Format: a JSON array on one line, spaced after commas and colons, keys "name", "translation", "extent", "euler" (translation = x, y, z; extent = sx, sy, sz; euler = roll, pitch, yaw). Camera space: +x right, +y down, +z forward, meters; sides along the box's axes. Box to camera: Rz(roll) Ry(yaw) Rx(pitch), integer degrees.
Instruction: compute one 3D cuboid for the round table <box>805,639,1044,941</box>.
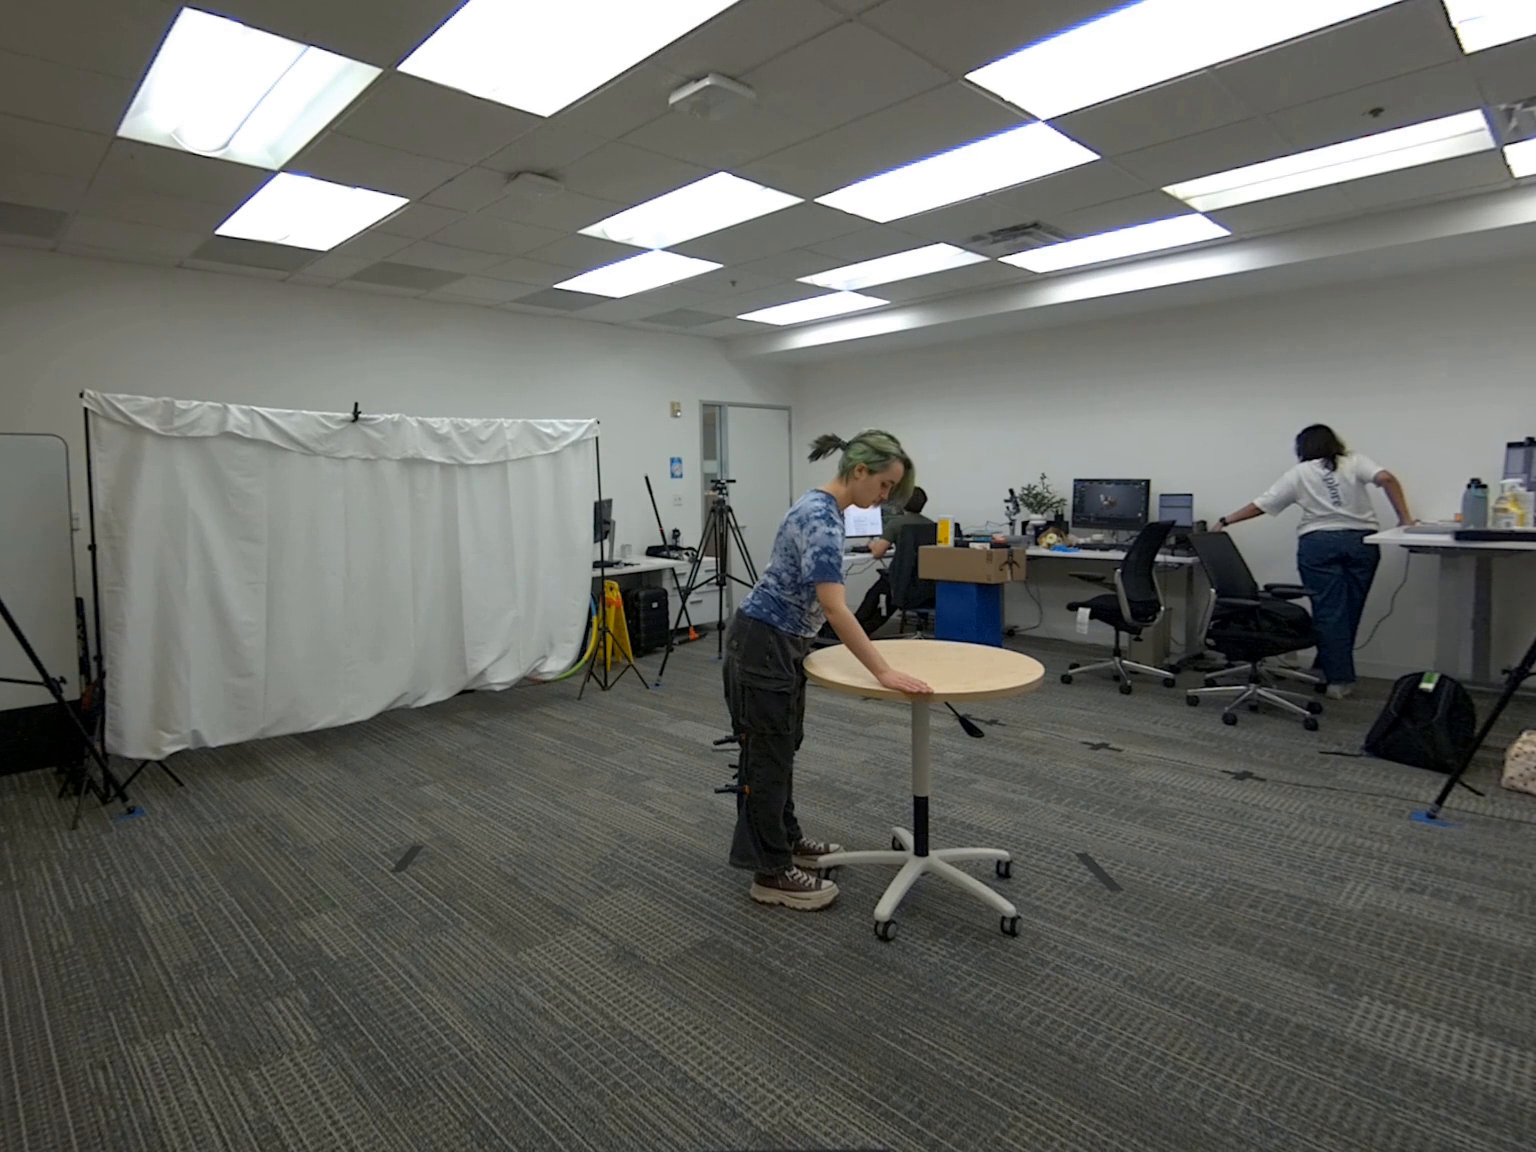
[{"name": "round table", "translation": [0.496, 0.674, 2.816], "extent": [0.784, 0.783, 0.789], "euler": [-1, 5, -2]}]
